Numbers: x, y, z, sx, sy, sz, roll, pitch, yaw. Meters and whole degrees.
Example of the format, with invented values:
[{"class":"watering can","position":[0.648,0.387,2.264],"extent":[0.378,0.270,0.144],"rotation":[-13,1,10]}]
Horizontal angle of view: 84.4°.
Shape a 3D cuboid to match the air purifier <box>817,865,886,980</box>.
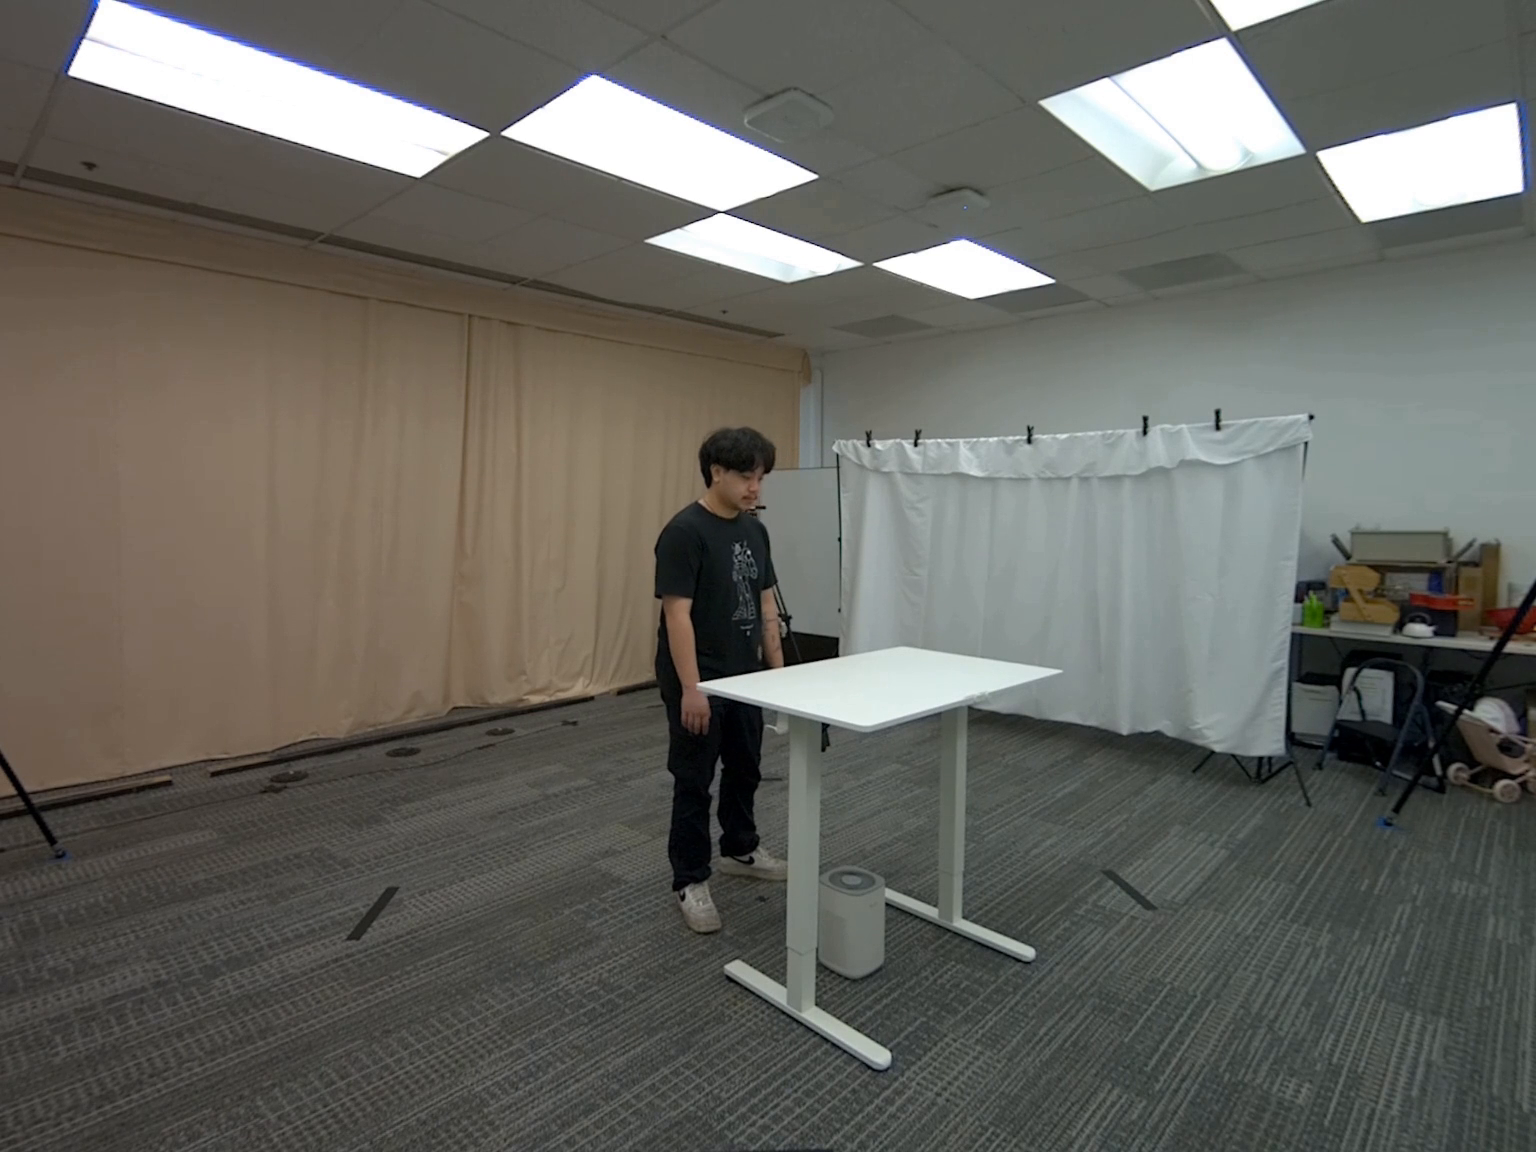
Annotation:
[{"class":"air purifier","position":[0.257,1.046,2.546],"extent":[0.177,0.265,0.166],"rotation":[4,5,45]}]
